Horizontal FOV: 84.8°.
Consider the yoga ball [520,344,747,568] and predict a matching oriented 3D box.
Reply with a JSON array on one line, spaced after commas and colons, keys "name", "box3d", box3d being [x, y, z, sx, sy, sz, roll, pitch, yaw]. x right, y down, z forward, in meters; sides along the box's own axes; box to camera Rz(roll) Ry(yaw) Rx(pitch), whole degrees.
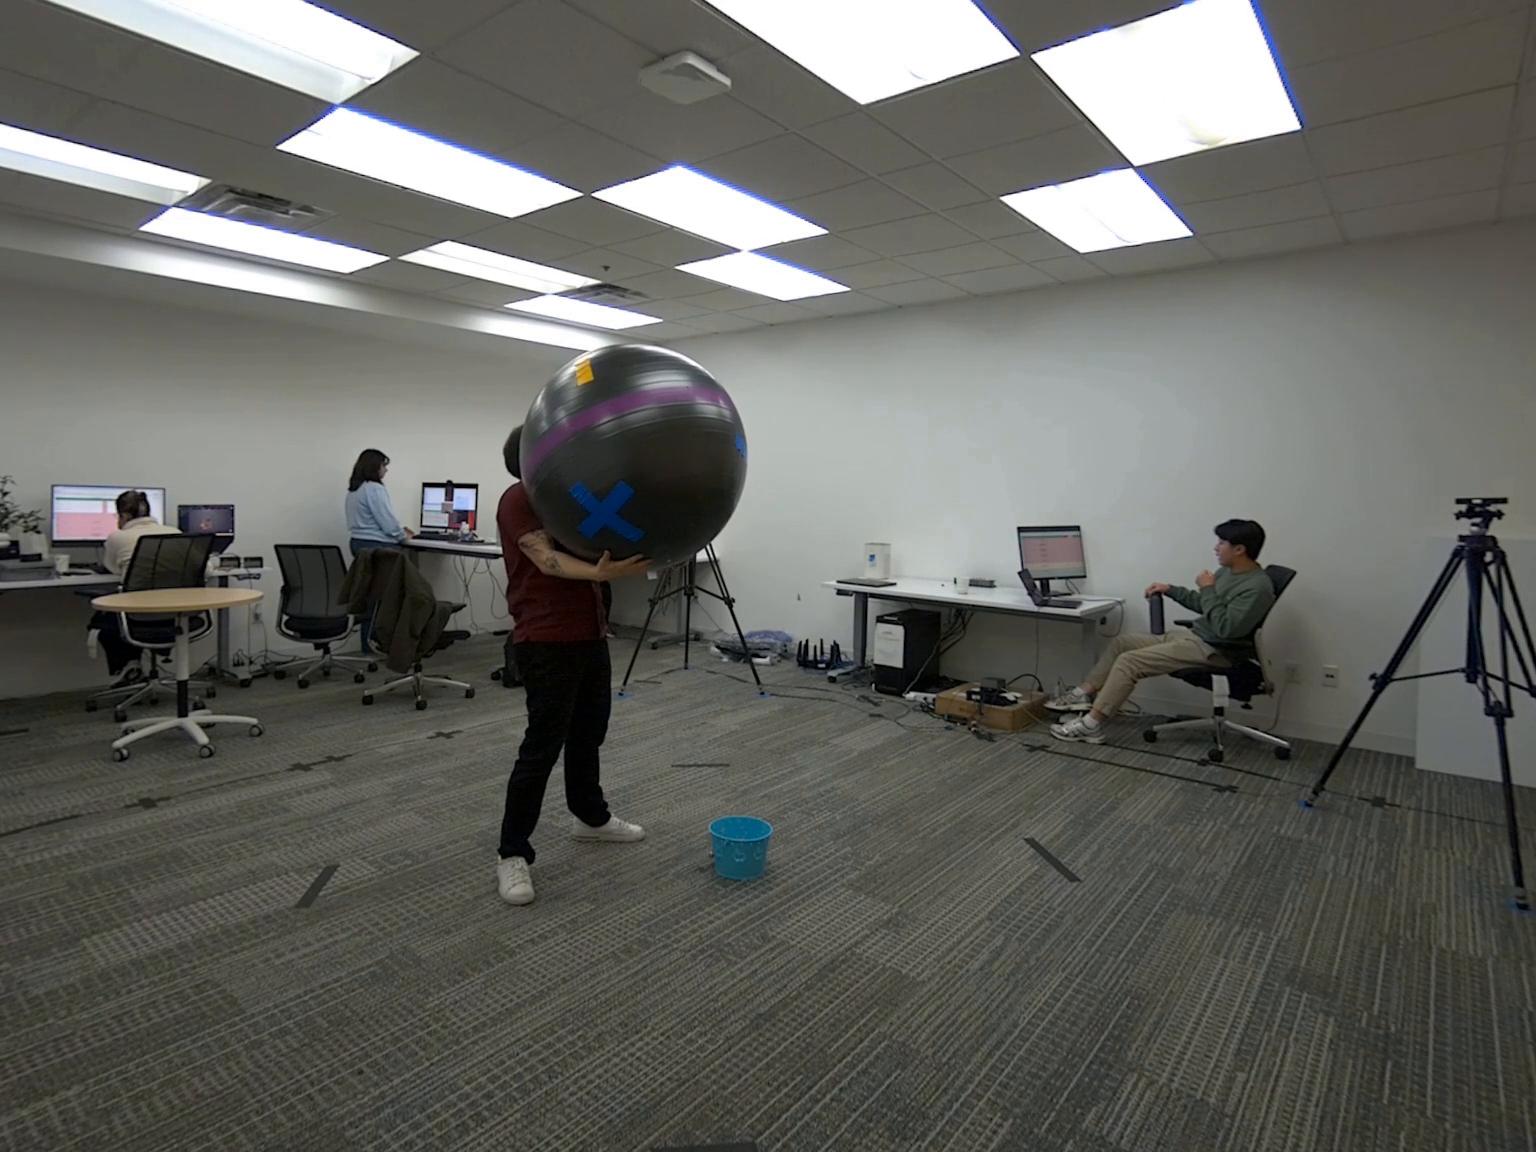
[{"name": "yoga ball", "box3d": [-0.463, -0.389, 2.854, 0.757, 0.756, 0.762, 1, 4, -2]}]
